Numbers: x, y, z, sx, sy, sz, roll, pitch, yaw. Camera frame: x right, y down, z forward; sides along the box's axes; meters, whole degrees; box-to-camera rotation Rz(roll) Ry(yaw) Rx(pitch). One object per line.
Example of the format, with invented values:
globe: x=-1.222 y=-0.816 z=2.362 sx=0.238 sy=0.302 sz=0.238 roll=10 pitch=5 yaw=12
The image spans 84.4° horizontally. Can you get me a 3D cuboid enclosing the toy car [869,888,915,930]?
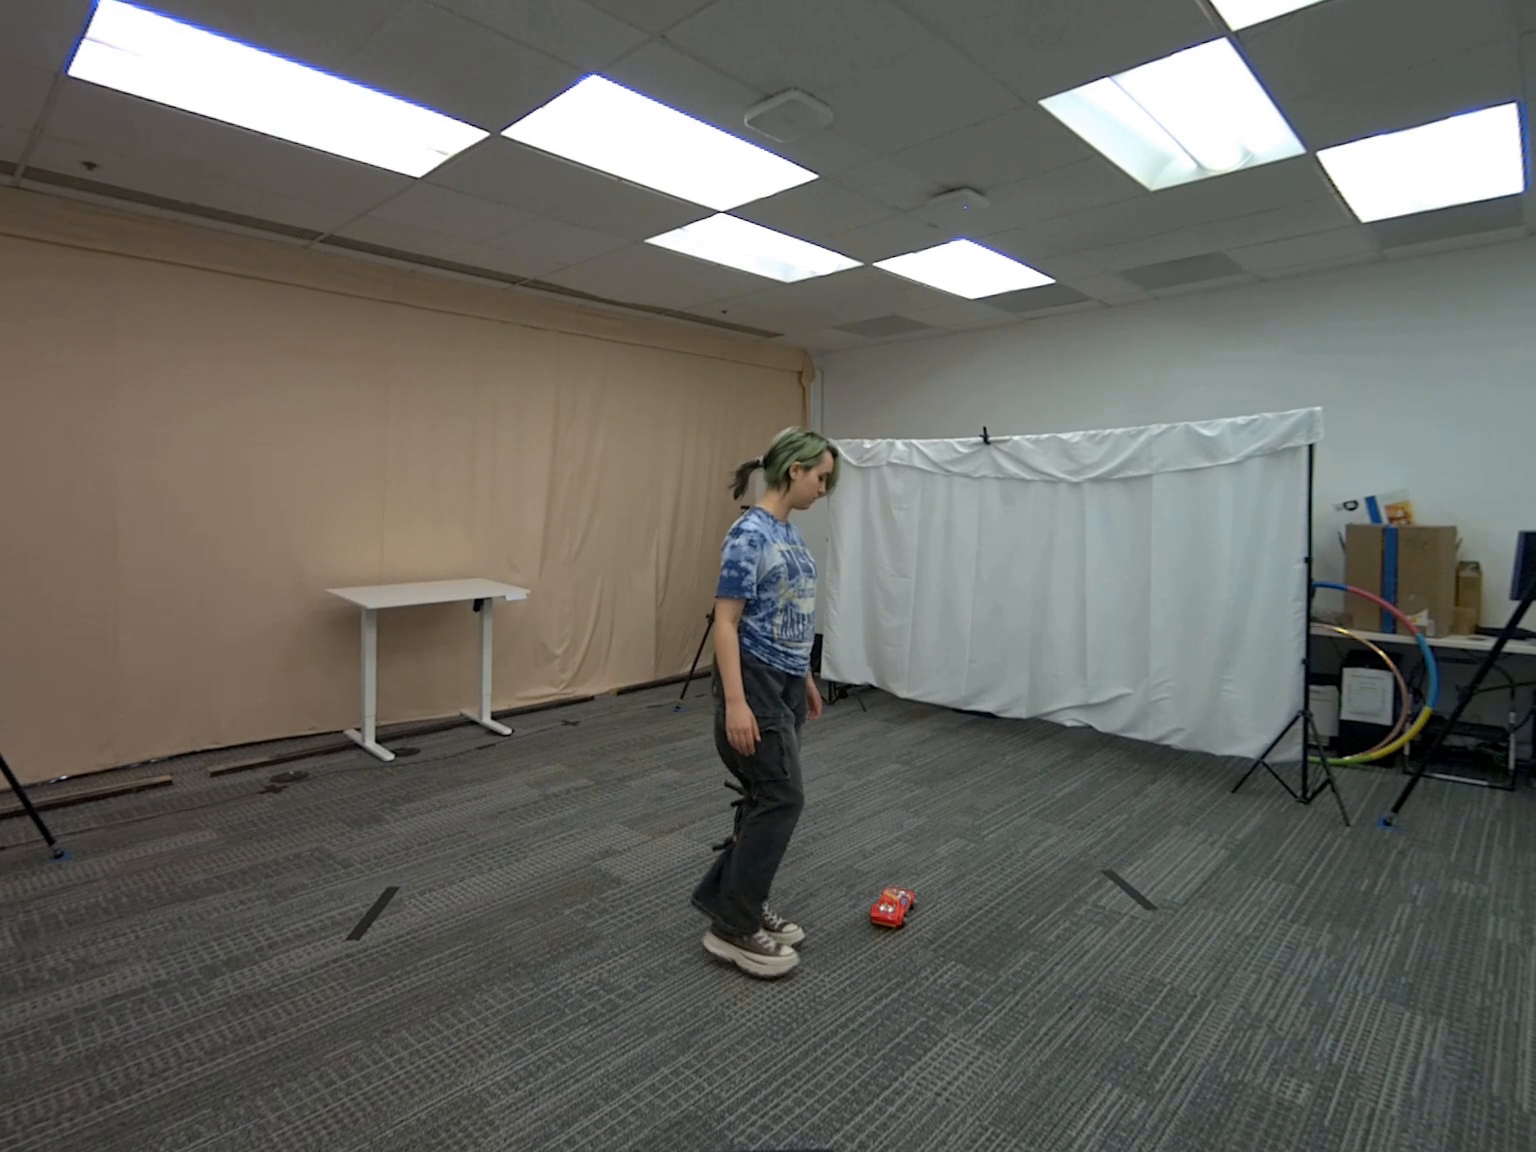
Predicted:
toy car: x=0.425 y=1.126 z=2.840 sx=0.133 sy=0.083 sz=0.247 roll=3 pitch=-4 yaw=24
